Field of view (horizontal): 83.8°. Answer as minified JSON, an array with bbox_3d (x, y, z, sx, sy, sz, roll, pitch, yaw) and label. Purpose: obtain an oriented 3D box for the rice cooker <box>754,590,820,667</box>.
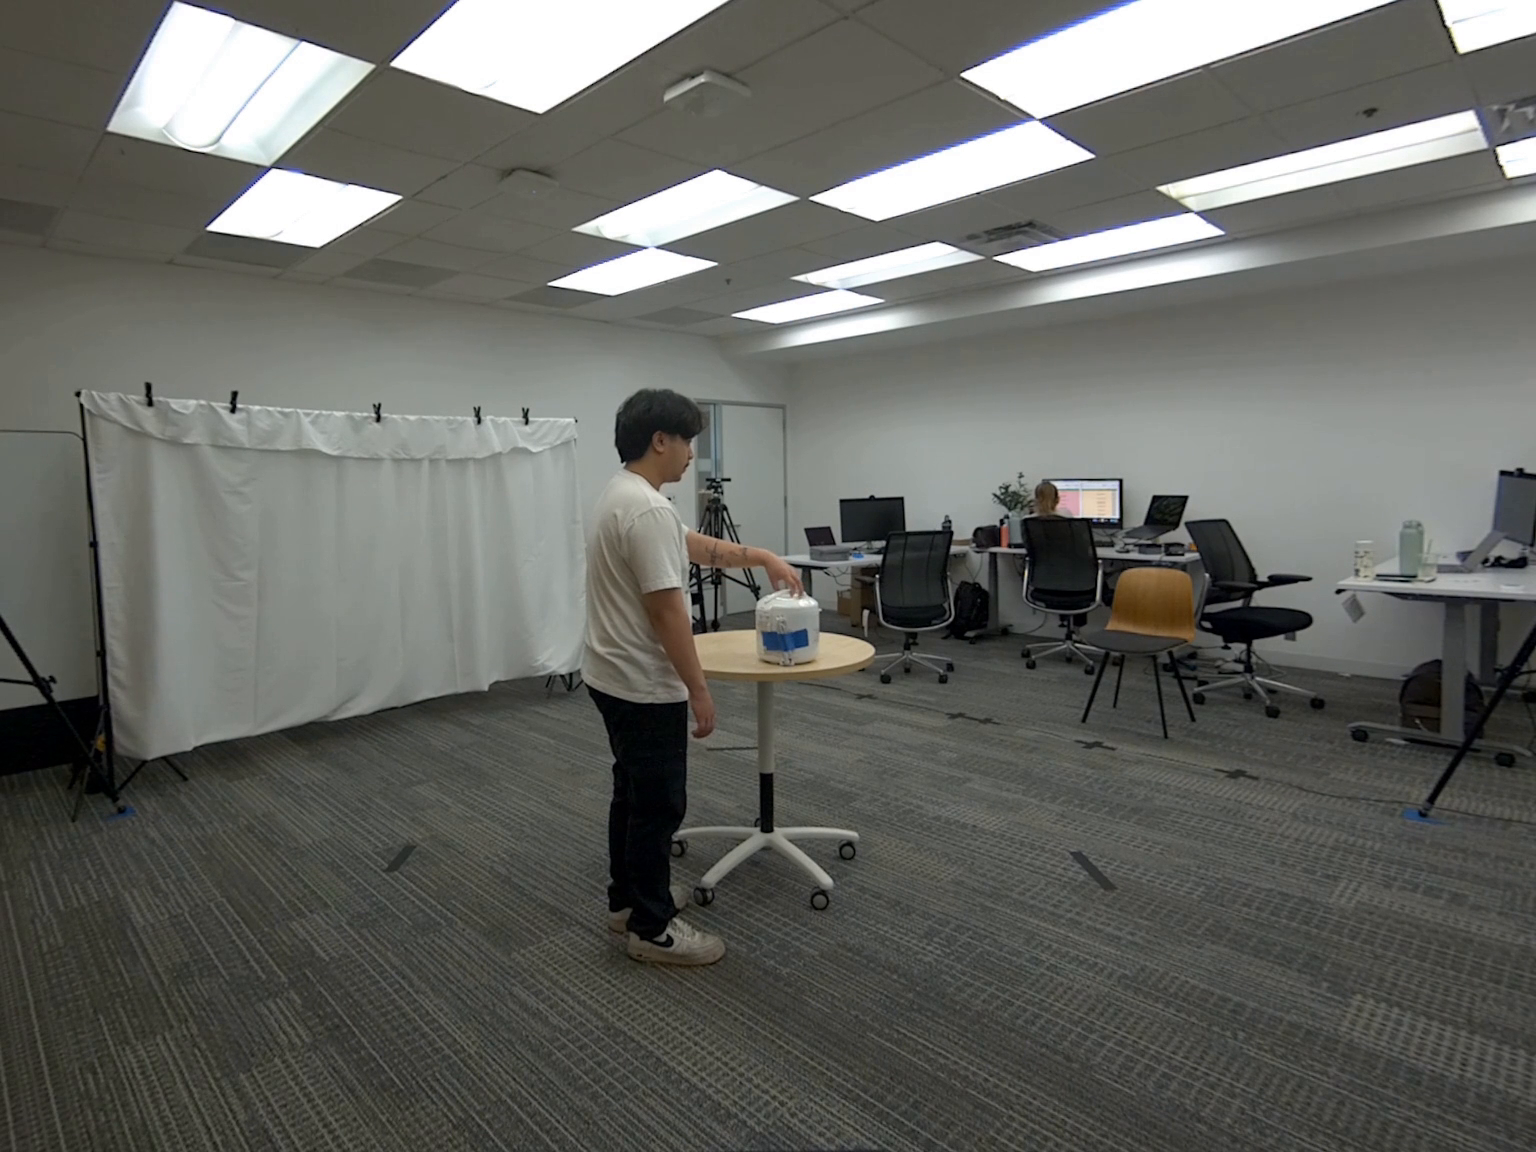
[{"bbox_3d":[0.065,0.159,2.808,0.215,0.232,0.224,-4,6,-38],"label":"rice cooker"}]
